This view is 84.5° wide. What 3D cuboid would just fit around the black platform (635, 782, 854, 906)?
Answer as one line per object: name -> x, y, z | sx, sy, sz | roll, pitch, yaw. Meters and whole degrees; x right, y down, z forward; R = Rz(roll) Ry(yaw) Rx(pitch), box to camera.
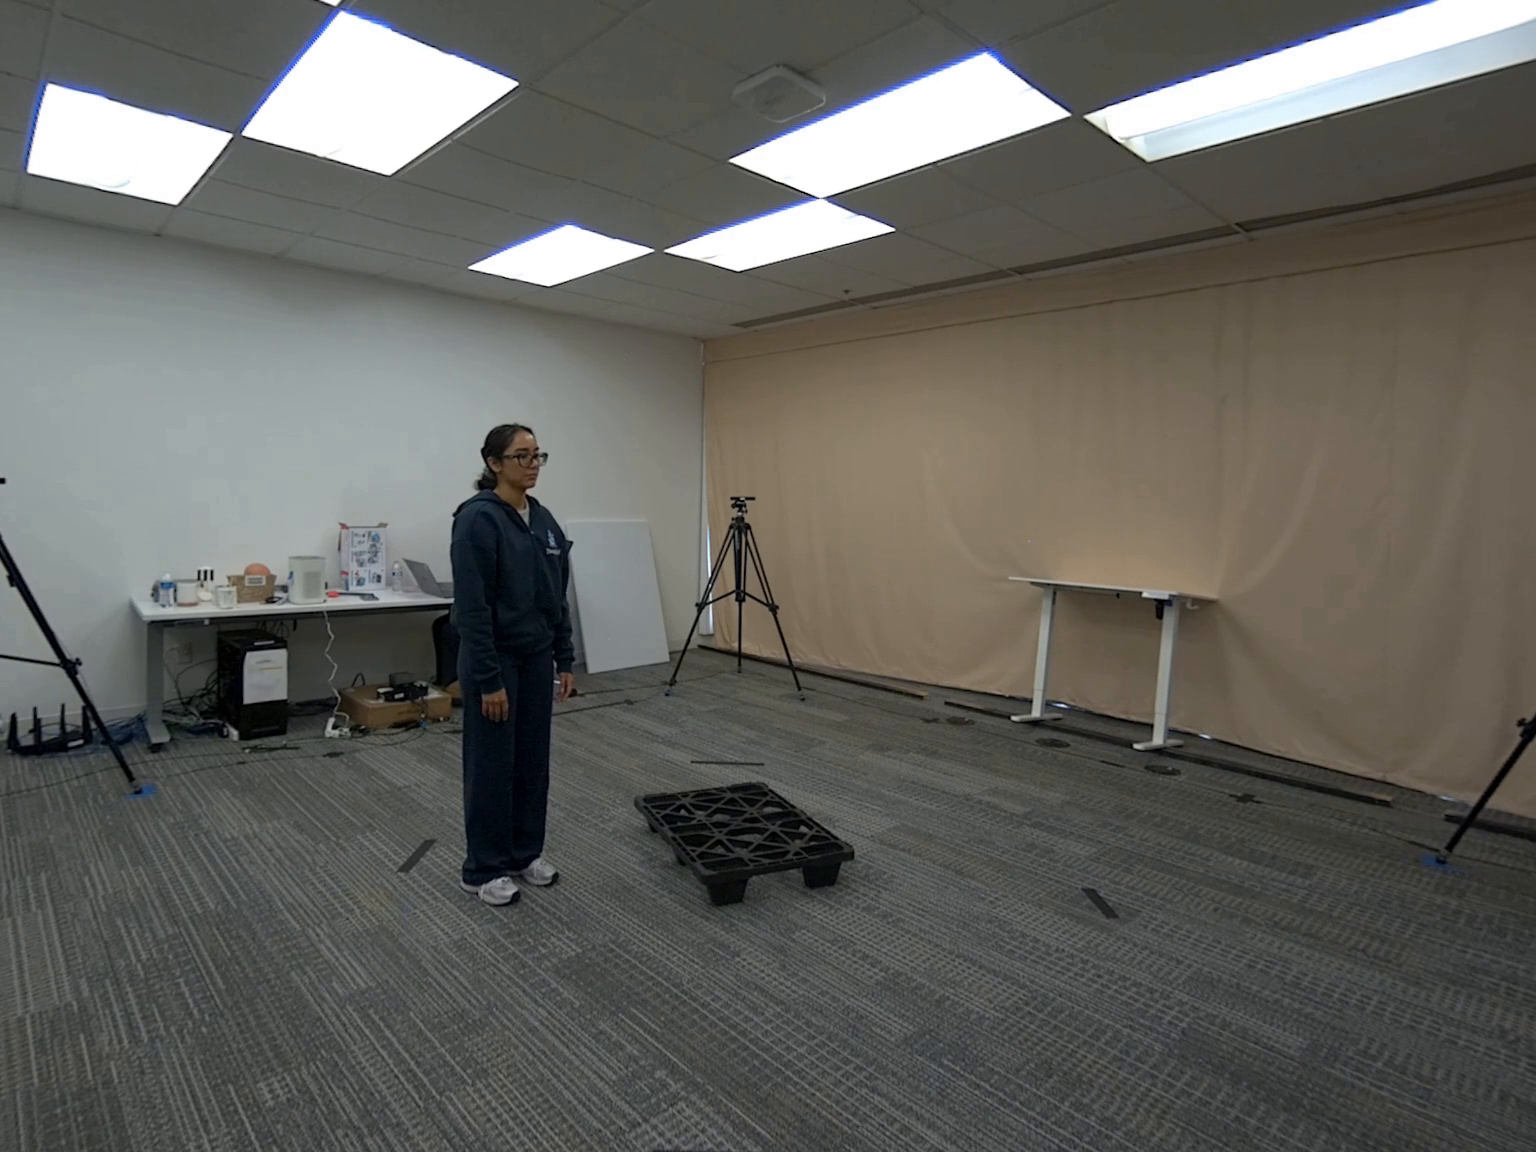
black platform -> -0.131, 1.024, 3.290 | 0.594, 0.143, 0.822 | 0, 5, -25
